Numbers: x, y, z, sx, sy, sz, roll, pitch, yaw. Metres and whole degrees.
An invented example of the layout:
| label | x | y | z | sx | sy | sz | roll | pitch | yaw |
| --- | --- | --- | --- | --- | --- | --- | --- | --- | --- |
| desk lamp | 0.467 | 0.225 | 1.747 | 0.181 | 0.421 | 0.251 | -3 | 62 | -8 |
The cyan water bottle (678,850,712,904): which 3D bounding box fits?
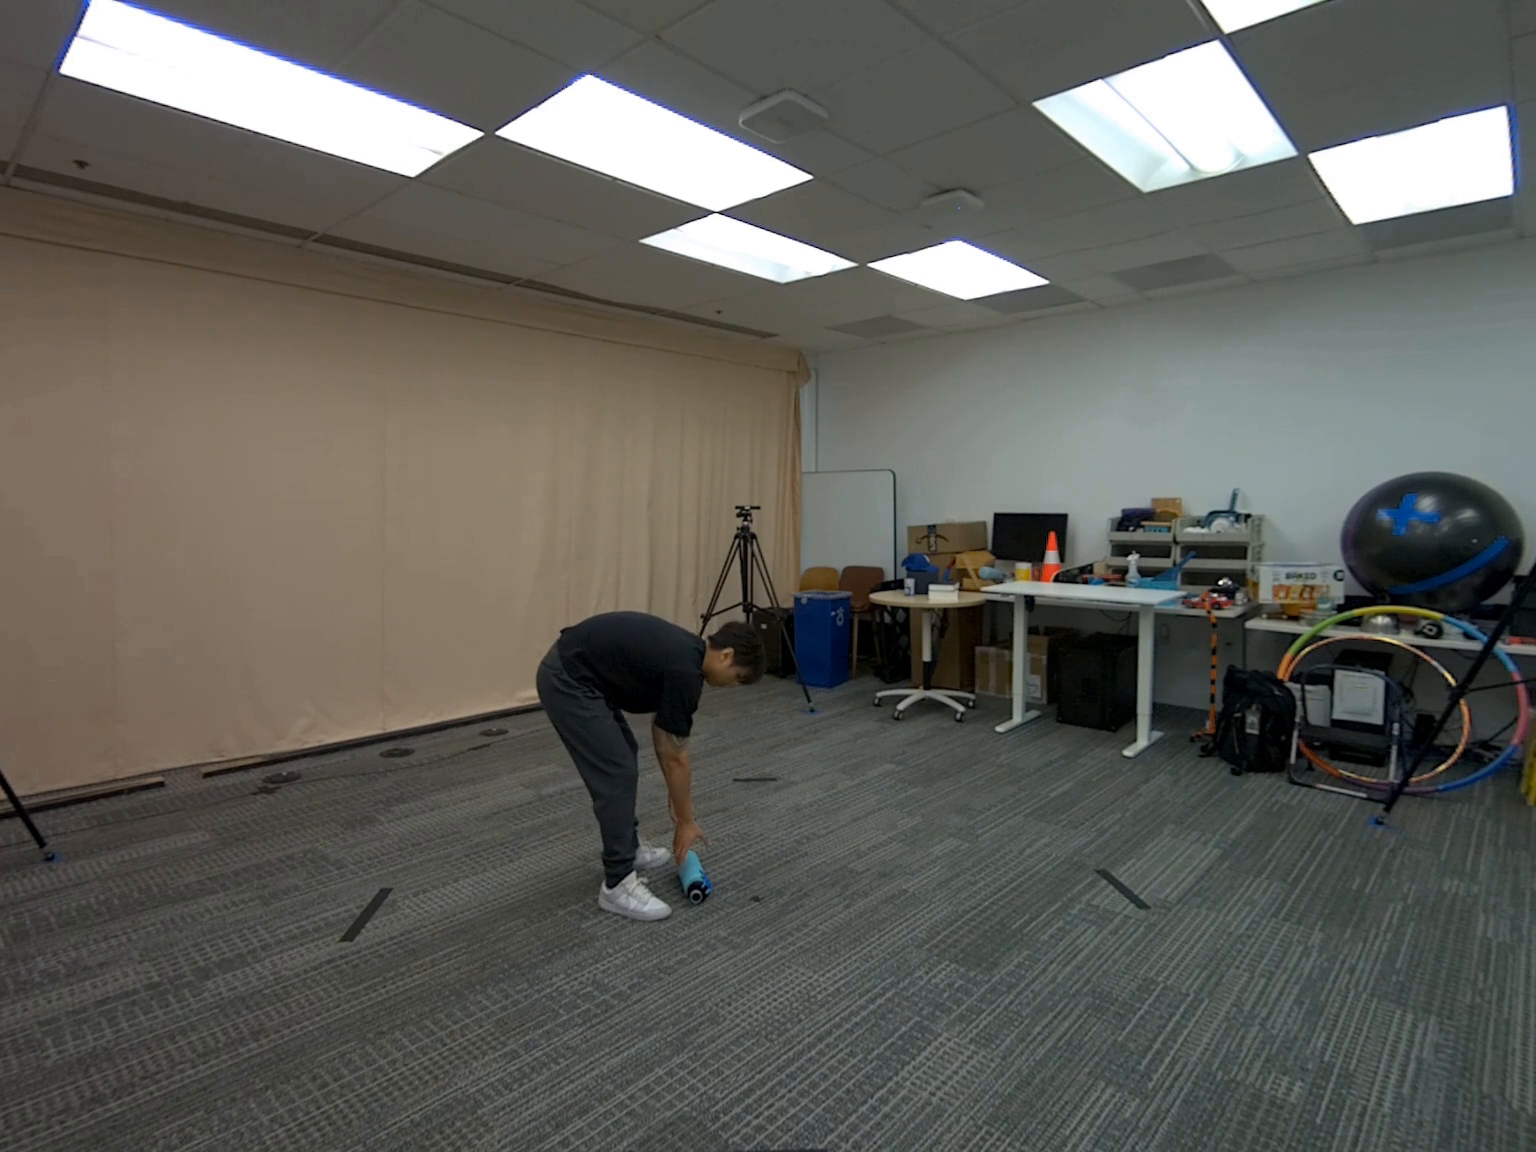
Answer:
| label | x | y | z | sx | sy | sz | roll | pitch | yaw |
| --- | --- | --- | --- | --- | --- | --- | --- | --- | --- |
| cyan water bottle | -0.273 | 1.094 | 3.056 | 0.091 | 0.092 | 0.288 | -1 | 4 | -15 |
